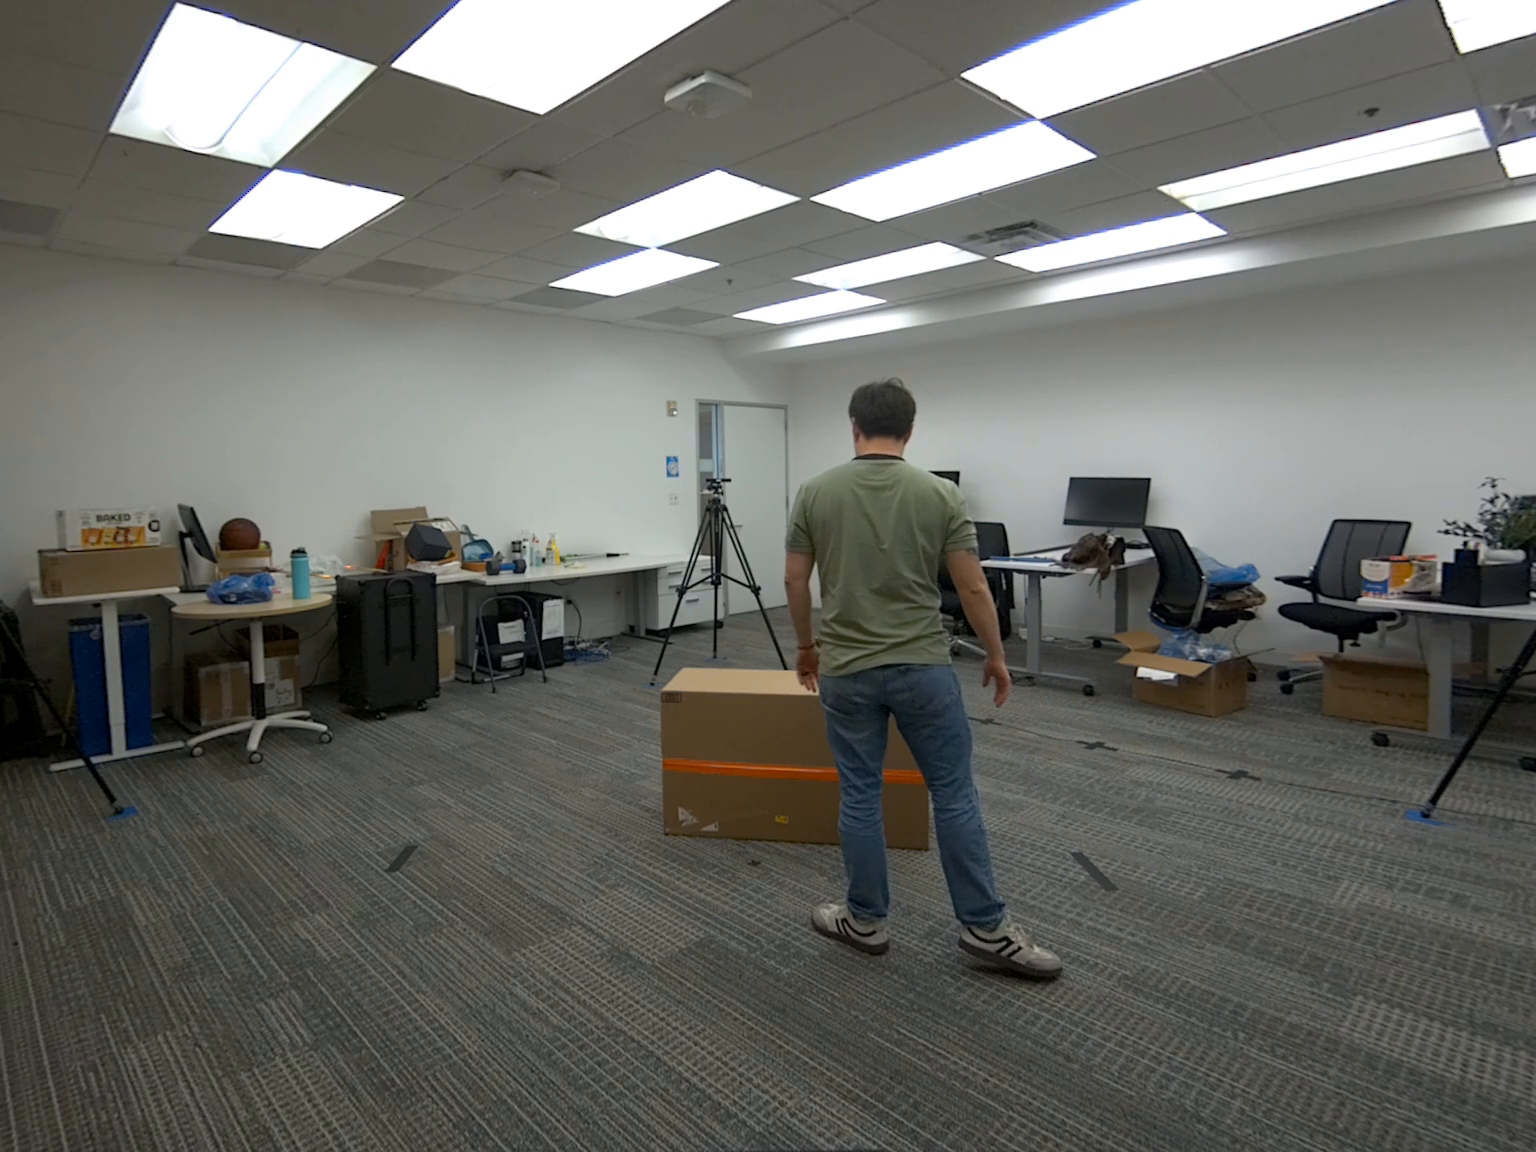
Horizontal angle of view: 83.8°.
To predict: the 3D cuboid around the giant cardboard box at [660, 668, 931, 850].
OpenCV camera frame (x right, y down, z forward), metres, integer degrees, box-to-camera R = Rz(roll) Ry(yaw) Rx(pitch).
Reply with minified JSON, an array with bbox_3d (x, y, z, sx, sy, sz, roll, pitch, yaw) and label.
[{"bbox_3d":[0.116,0.711,3.460,1.036,0.575,0.424,0,5,10],"label":"giant cardboard box"}]
